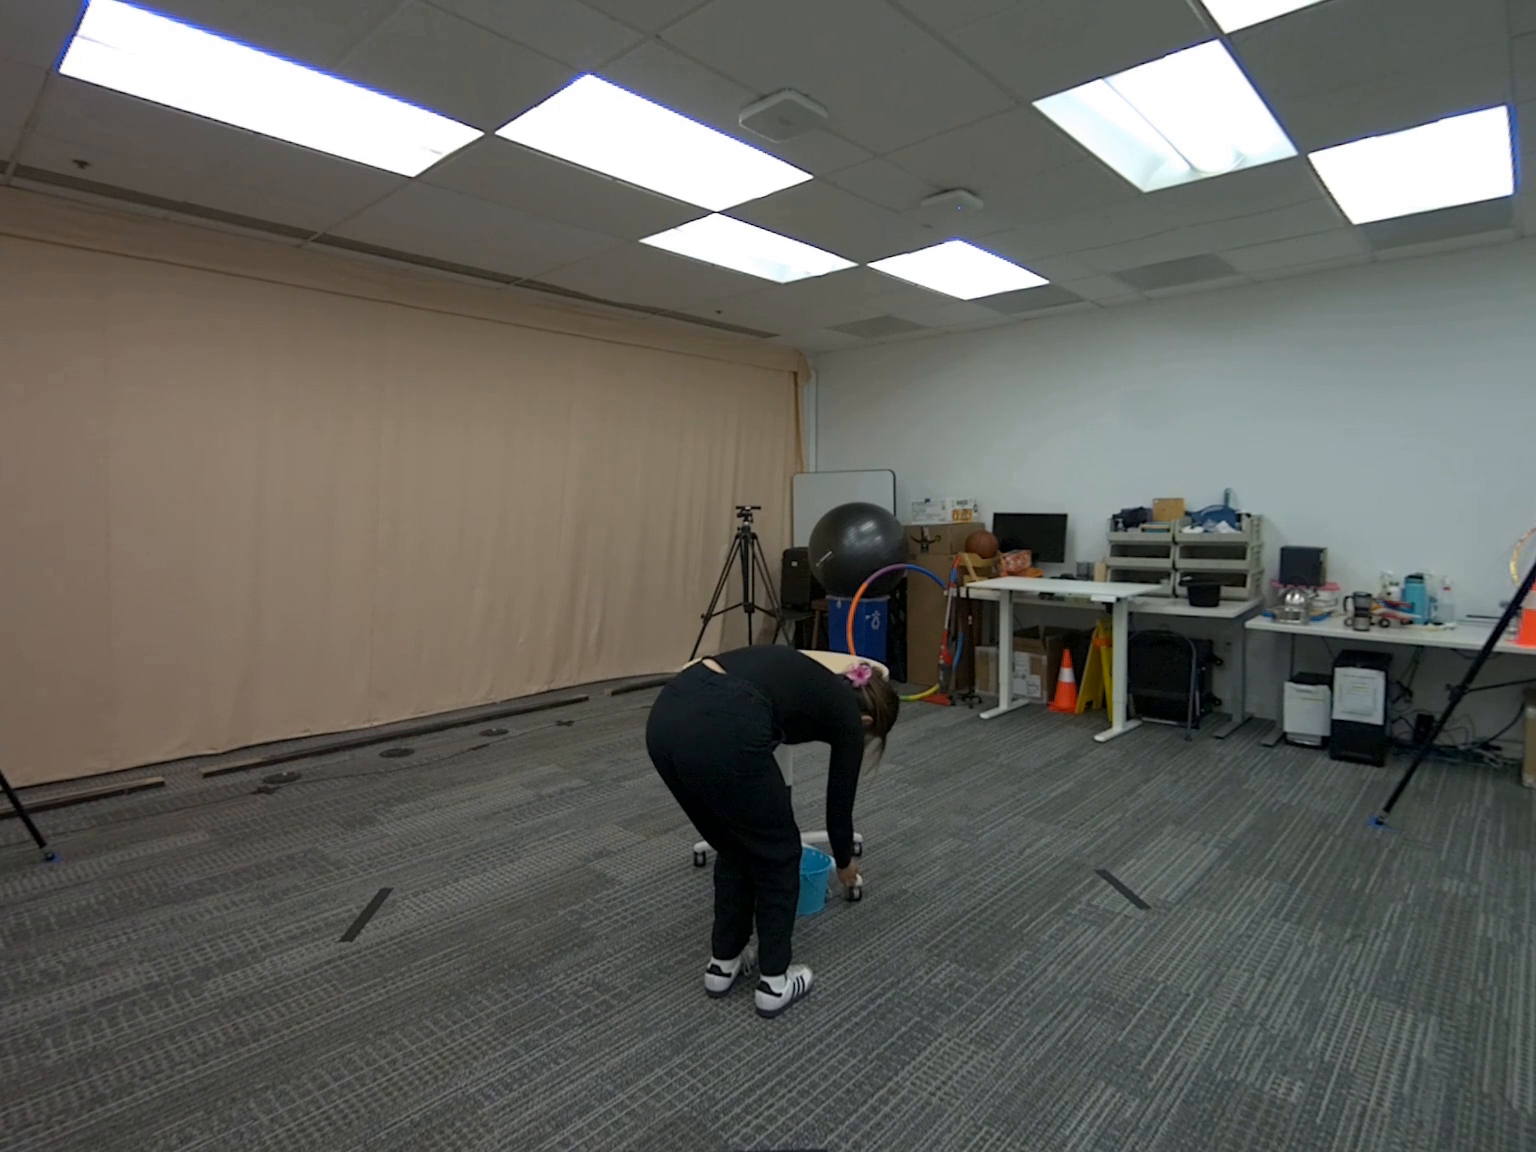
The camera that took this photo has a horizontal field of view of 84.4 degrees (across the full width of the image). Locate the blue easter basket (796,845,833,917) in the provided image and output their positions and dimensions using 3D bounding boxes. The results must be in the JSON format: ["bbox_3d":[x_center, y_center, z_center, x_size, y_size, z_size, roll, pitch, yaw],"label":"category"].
[{"bbox_3d":[0.123,1.068,2.952,0.243,0.155,0.244,1,5,-2],"label":"blue easter basket"}]
